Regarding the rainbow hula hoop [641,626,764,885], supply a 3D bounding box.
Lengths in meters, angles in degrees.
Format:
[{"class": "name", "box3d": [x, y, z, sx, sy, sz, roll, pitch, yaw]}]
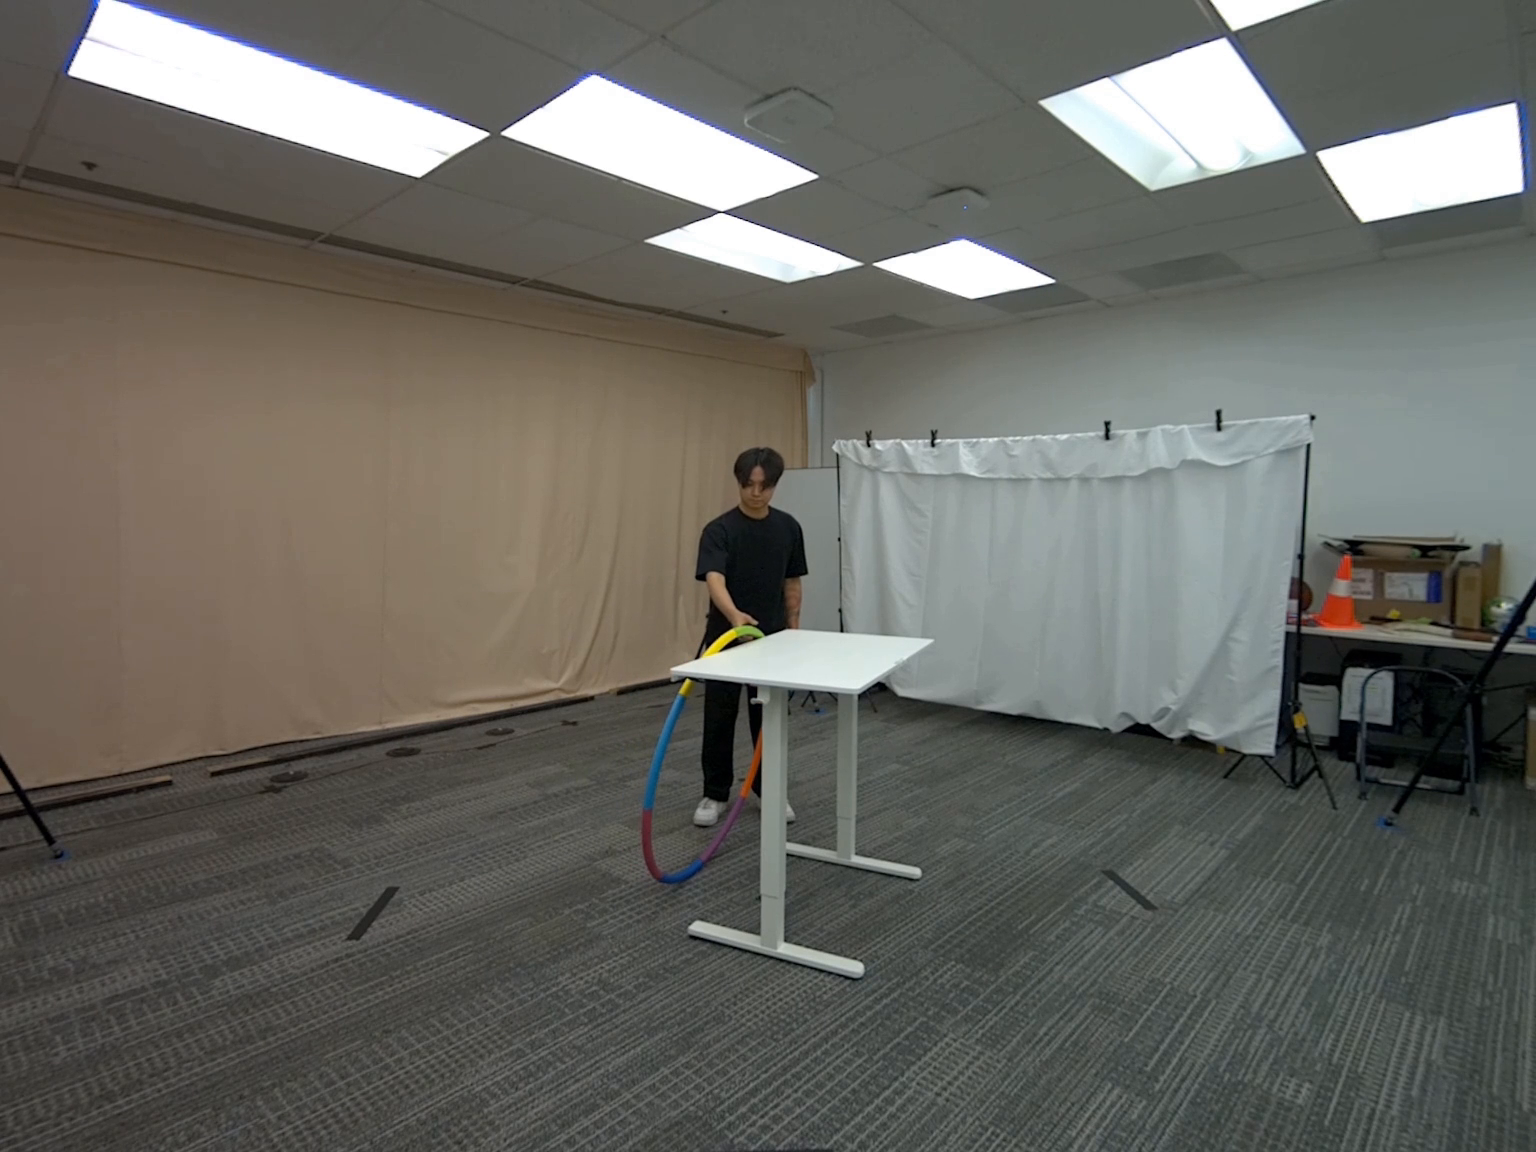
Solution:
[{"class": "rainbow hula hoop", "box3d": [-0.193, 0.659, 3.134, 0.036, 0.975, 0.957, 15, 9, 21]}]
